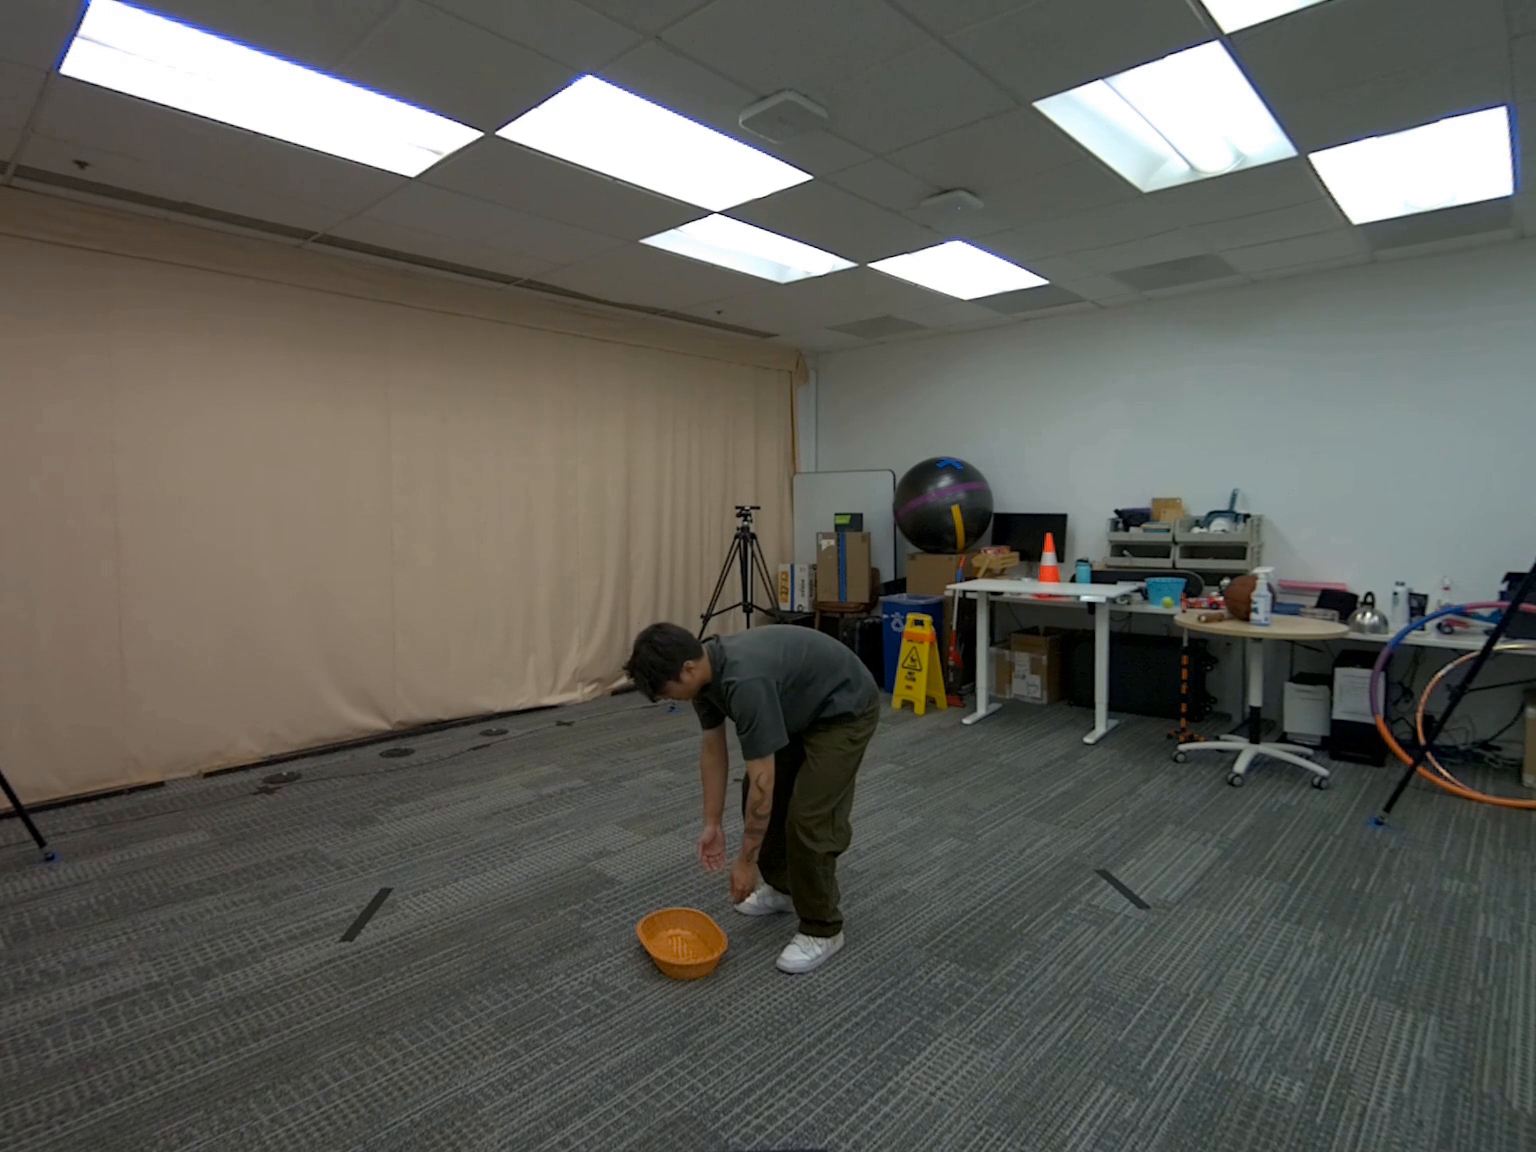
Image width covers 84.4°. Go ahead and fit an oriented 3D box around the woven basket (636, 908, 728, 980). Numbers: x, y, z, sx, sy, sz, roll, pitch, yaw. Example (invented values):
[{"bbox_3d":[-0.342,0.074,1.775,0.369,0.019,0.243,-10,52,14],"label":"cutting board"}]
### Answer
[{"bbox_3d":[-0.265,1.138,2.611,0.246,0.073,0.360,-3,5,-25],"label":"woven basket"}]
